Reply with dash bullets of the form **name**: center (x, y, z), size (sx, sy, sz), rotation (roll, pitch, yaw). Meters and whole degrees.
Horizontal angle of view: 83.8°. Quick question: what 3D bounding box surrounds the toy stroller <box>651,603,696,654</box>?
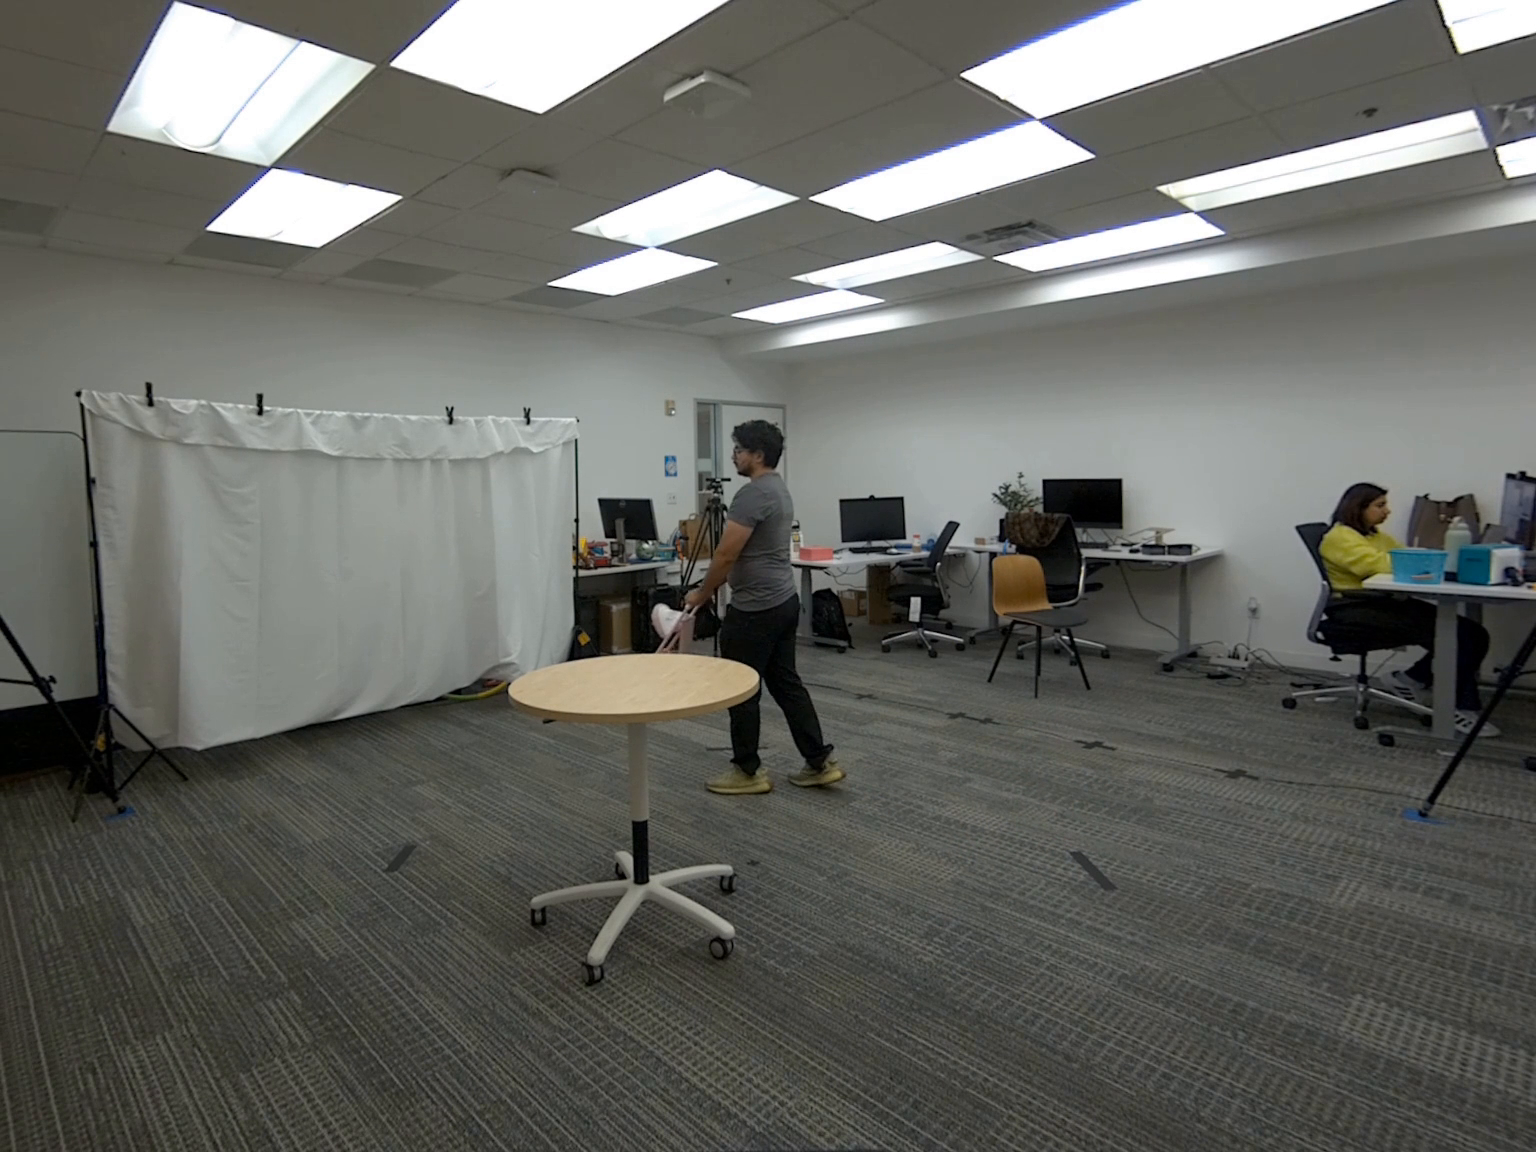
- **toy stroller**: center (-0.431, 0.364, 3.924), size (0.347, 0.534, 0.277), rotation (-5, 2, 18)
